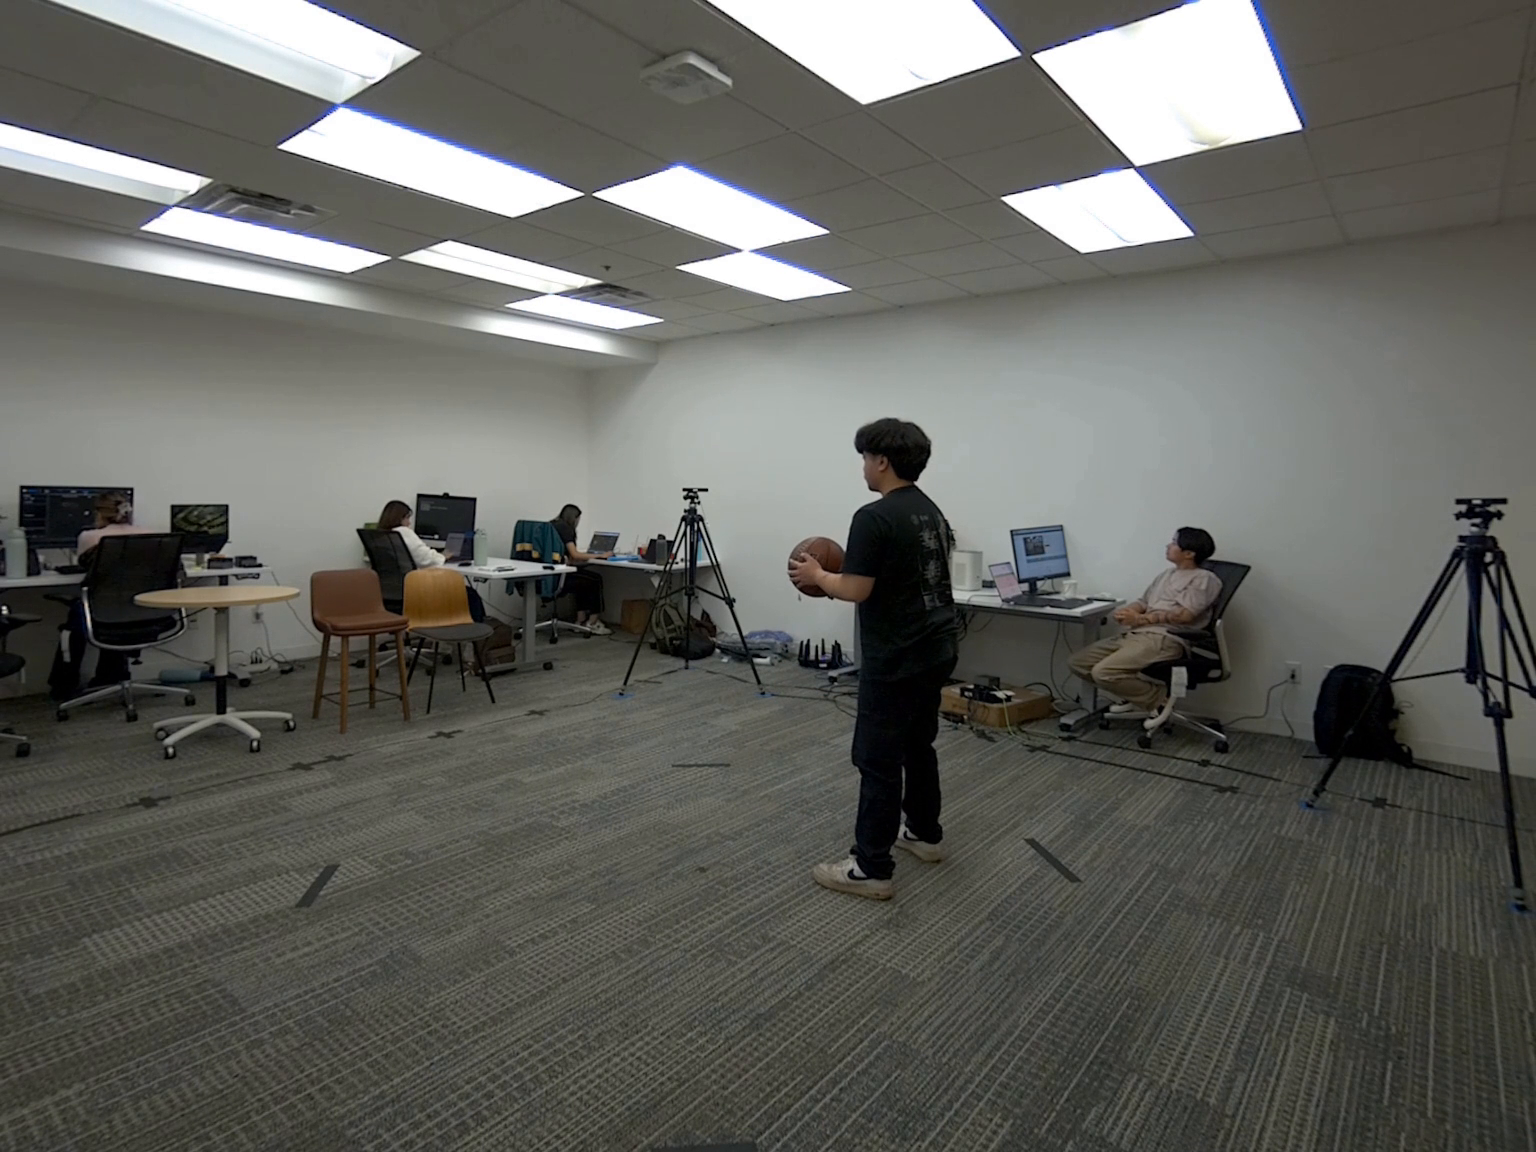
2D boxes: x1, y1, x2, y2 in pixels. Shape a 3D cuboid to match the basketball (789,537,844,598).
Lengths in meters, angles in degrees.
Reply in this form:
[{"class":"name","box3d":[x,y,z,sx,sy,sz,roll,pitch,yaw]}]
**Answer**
[{"class":"basketball","box3d":[0.193,-0.041,3.345,0.235,0.235,0.237,1,4,-2]}]
